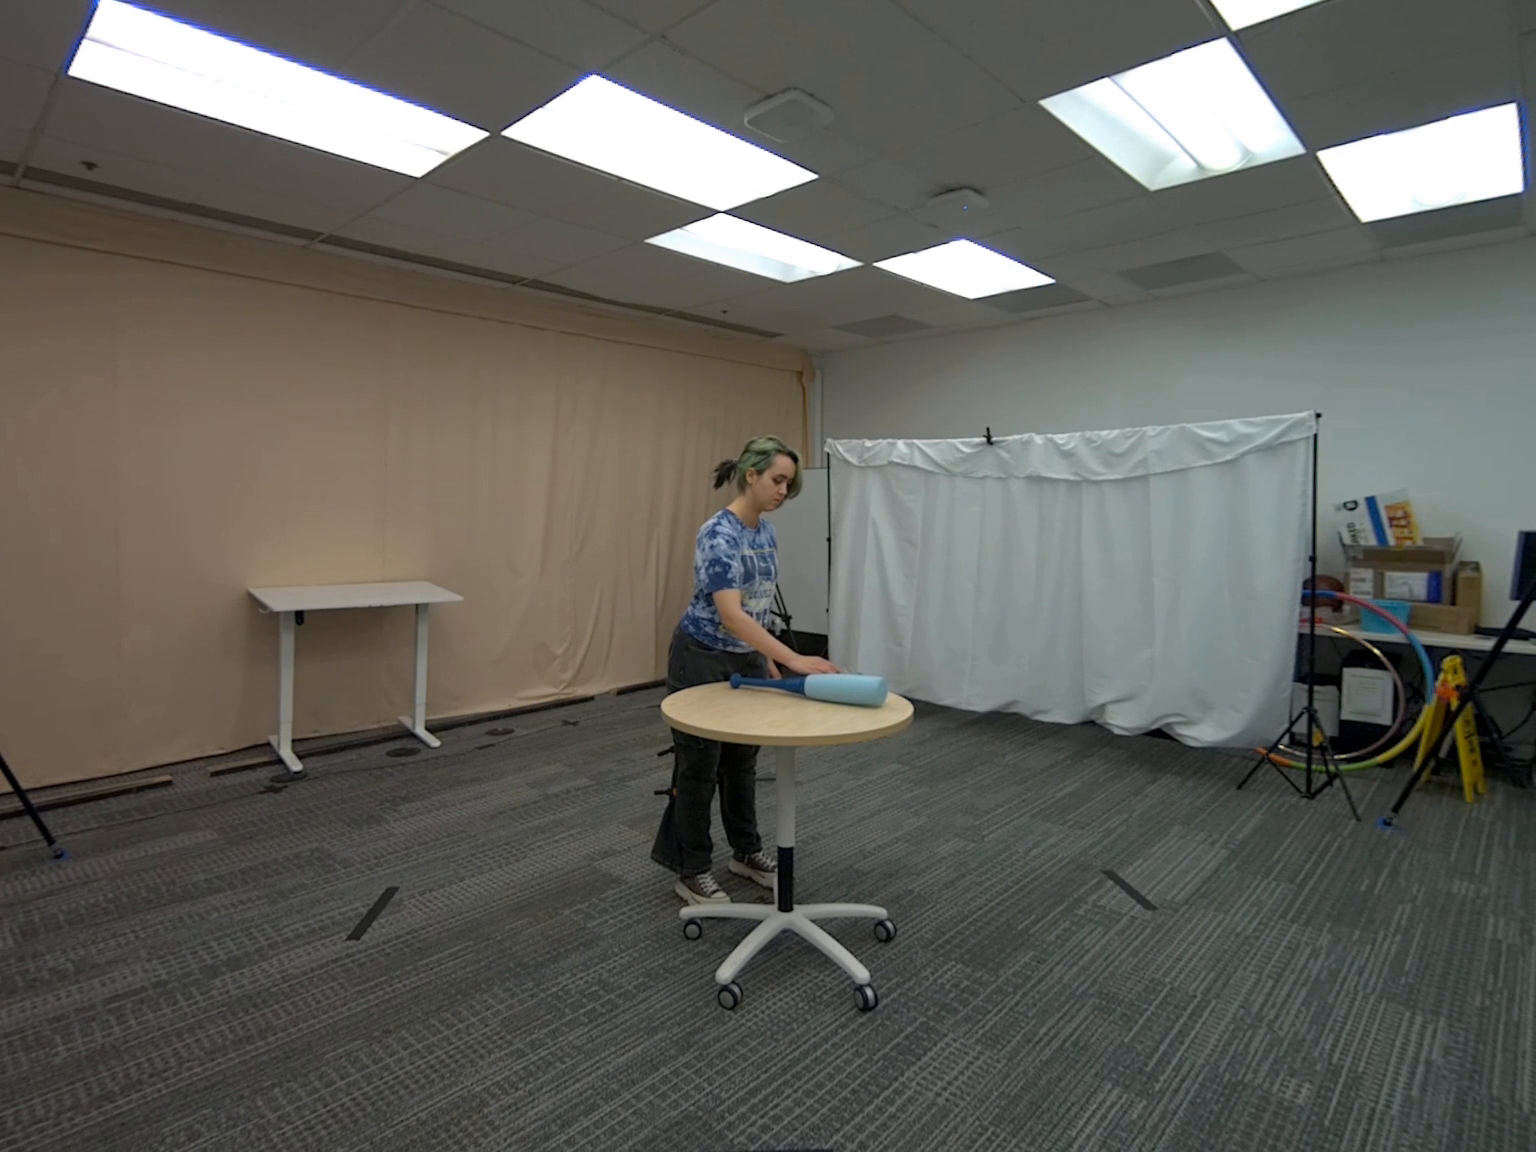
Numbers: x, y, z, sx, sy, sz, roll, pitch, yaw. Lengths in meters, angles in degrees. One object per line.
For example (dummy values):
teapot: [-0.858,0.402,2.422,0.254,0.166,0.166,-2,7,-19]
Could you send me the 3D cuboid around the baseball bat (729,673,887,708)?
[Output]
baseball bat: [0.115,0.354,2.659,0.558,0.089,0.086,-2,2,32]
